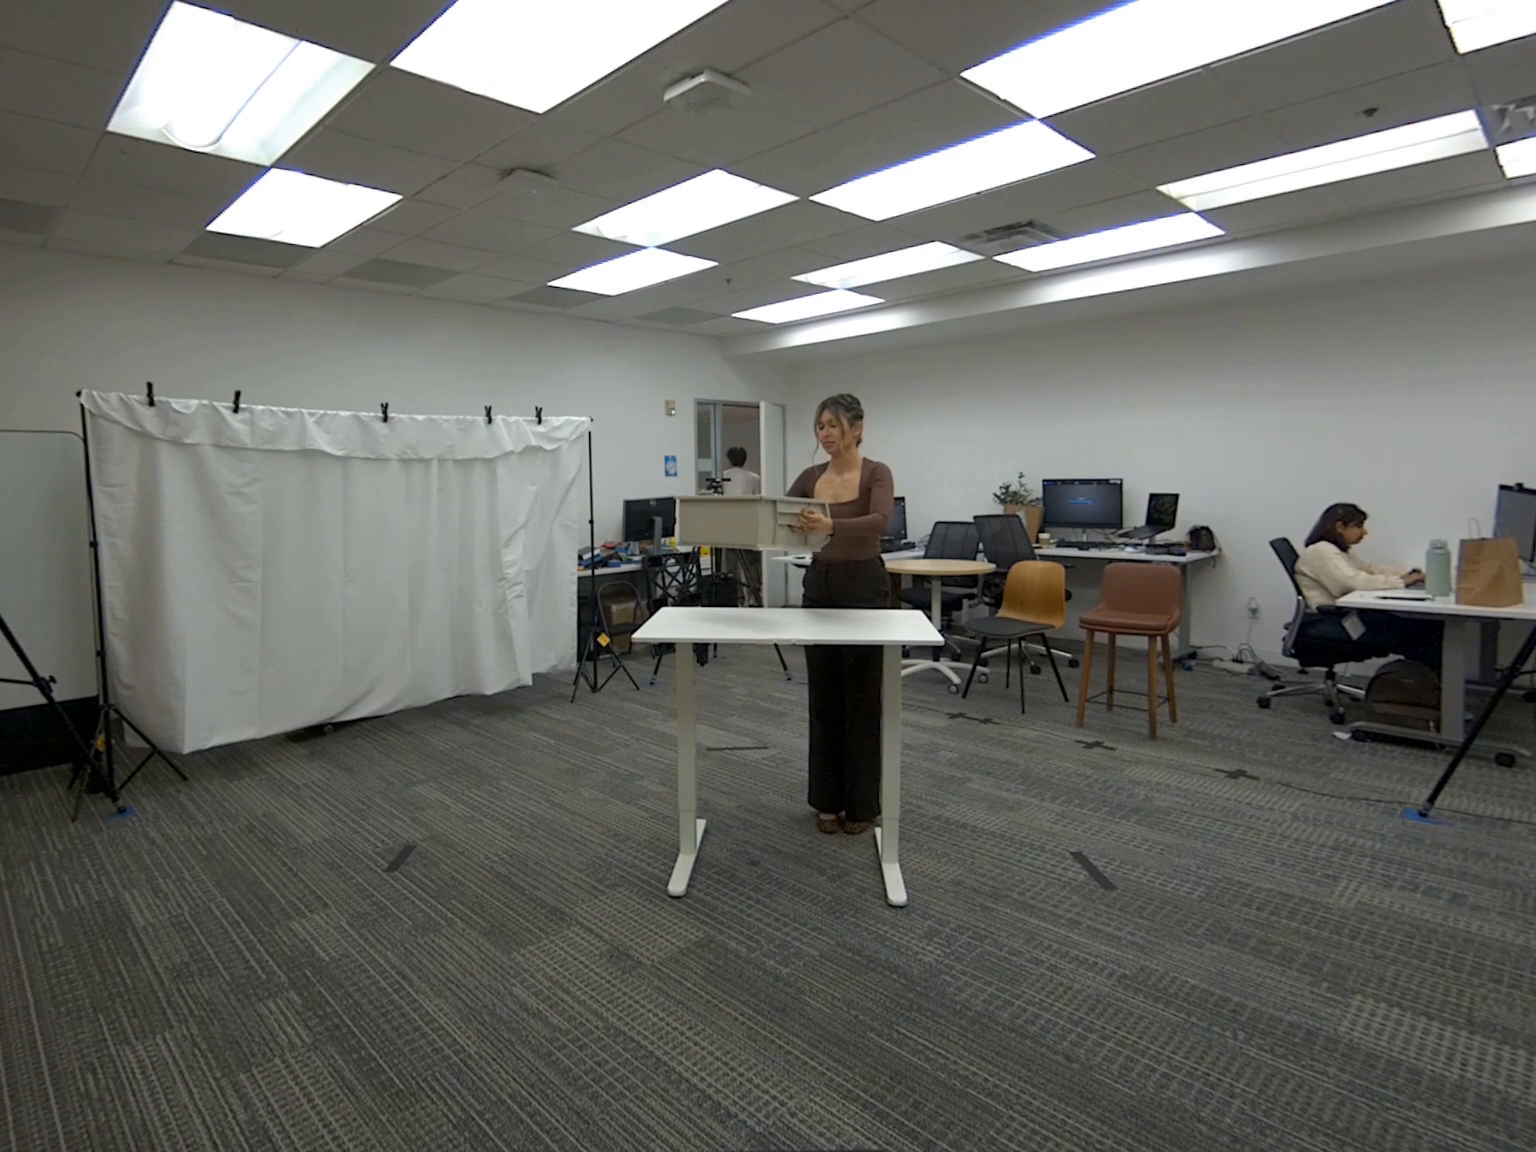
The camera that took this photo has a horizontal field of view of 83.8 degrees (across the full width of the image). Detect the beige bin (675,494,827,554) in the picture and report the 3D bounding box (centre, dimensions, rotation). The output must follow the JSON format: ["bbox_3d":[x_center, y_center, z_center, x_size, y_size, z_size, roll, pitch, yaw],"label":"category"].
[{"bbox_3d":[-0.053,-0.183,3.016,0.435,0.188,0.367,5,5,44],"label":"beige bin"}]
